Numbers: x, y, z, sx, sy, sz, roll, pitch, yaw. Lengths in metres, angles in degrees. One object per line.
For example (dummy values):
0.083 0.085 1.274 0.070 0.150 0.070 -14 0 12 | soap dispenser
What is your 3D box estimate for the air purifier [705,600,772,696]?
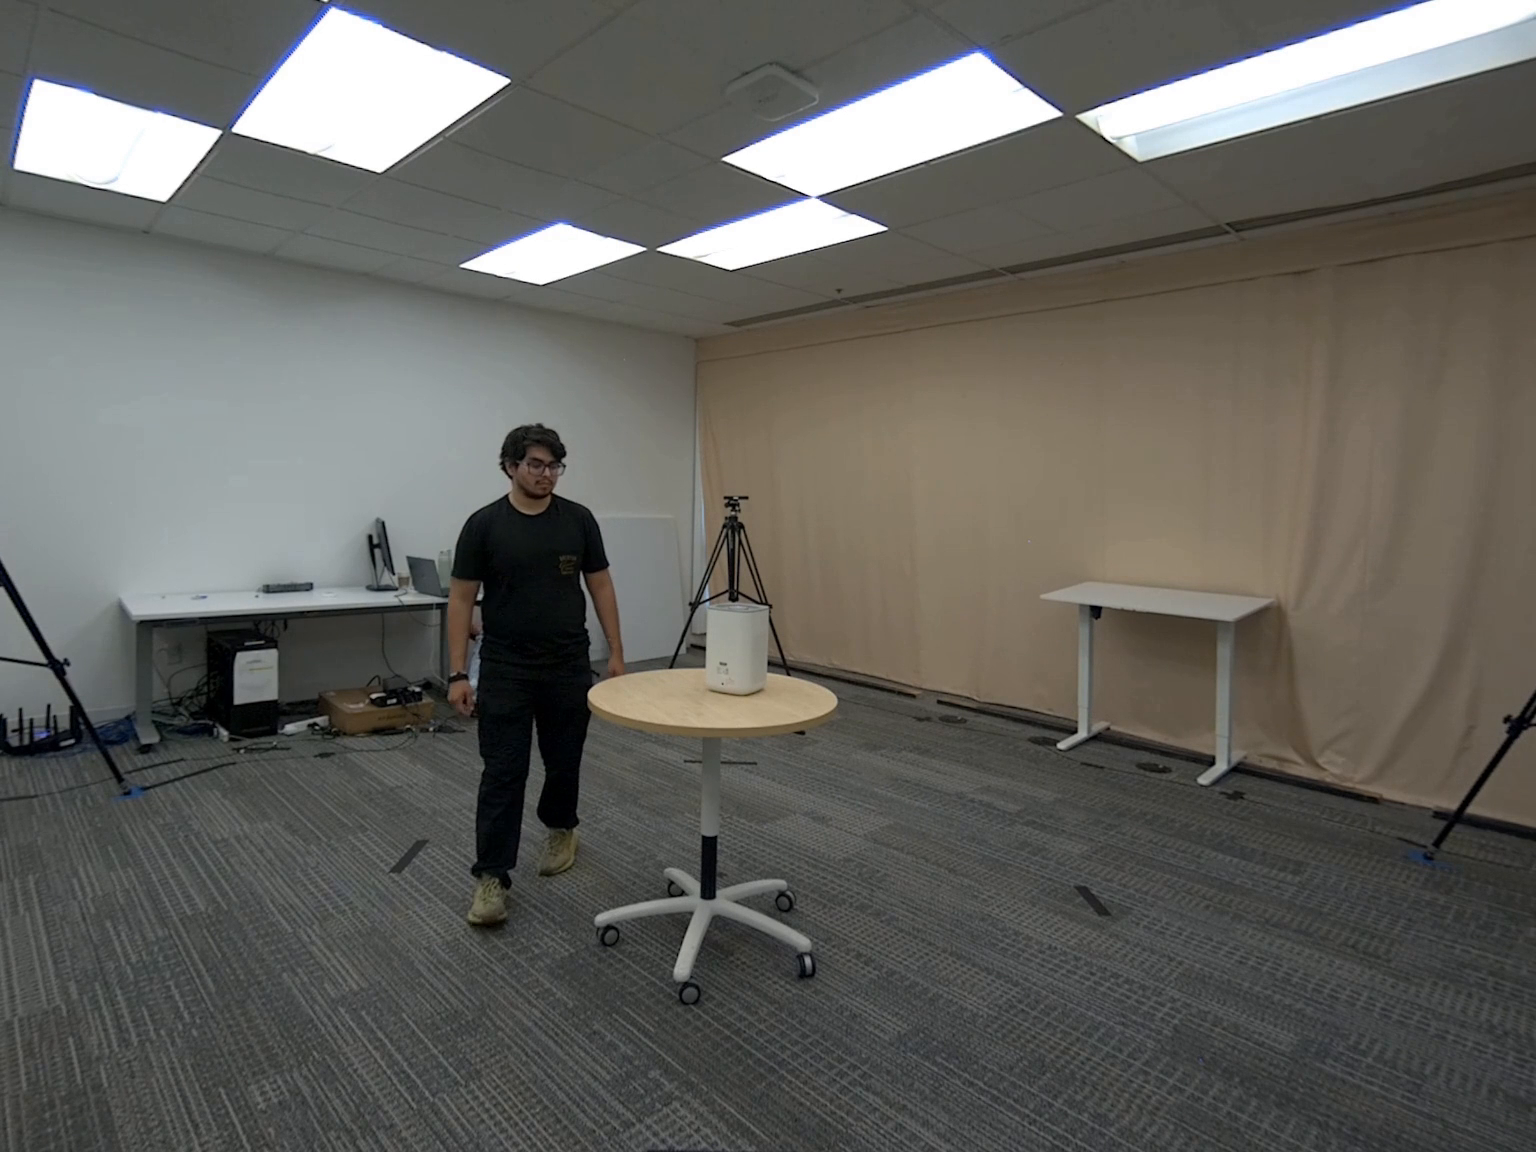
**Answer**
-0.100 0.228 2.650 0.174 0.265 0.168 4 3 24 | air purifier
